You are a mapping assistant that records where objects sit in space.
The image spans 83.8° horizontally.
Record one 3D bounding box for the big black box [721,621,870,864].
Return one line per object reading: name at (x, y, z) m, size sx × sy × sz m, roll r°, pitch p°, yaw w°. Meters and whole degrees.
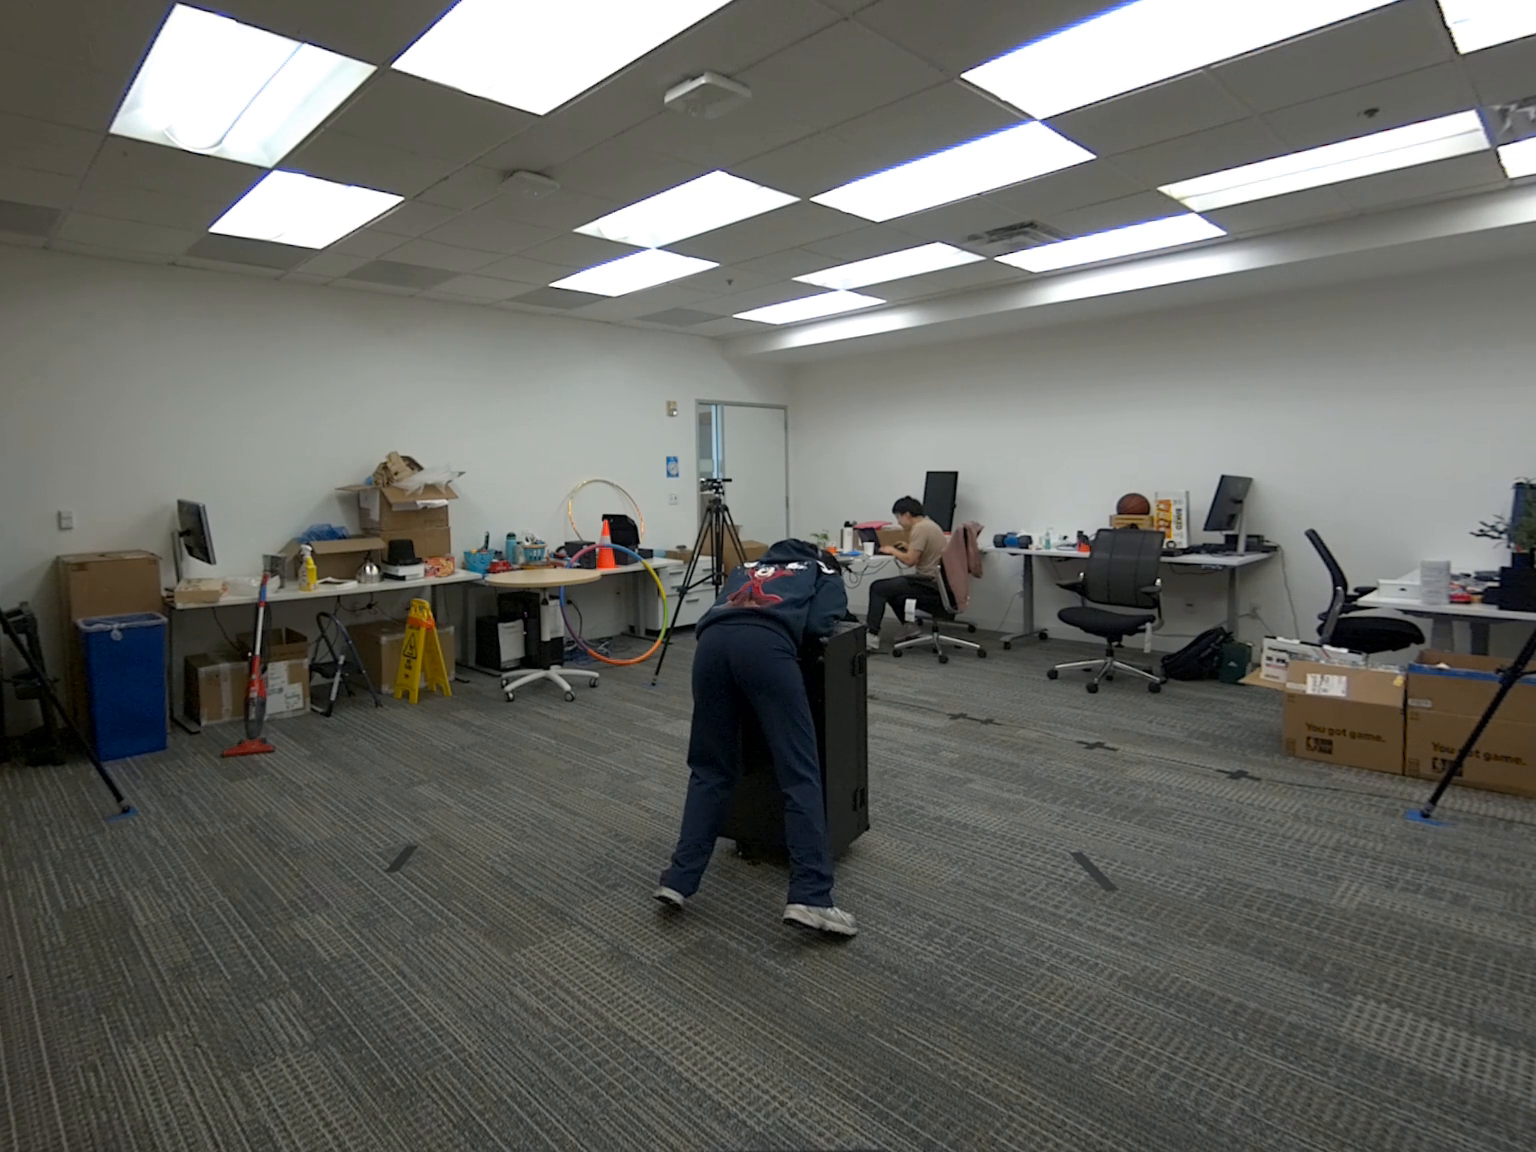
big black box at (0.085, 0.615, 3.175) m, size 0.535 × 0.858 × 0.387 m, roll 1°, pitch 5°, yaw 31°
